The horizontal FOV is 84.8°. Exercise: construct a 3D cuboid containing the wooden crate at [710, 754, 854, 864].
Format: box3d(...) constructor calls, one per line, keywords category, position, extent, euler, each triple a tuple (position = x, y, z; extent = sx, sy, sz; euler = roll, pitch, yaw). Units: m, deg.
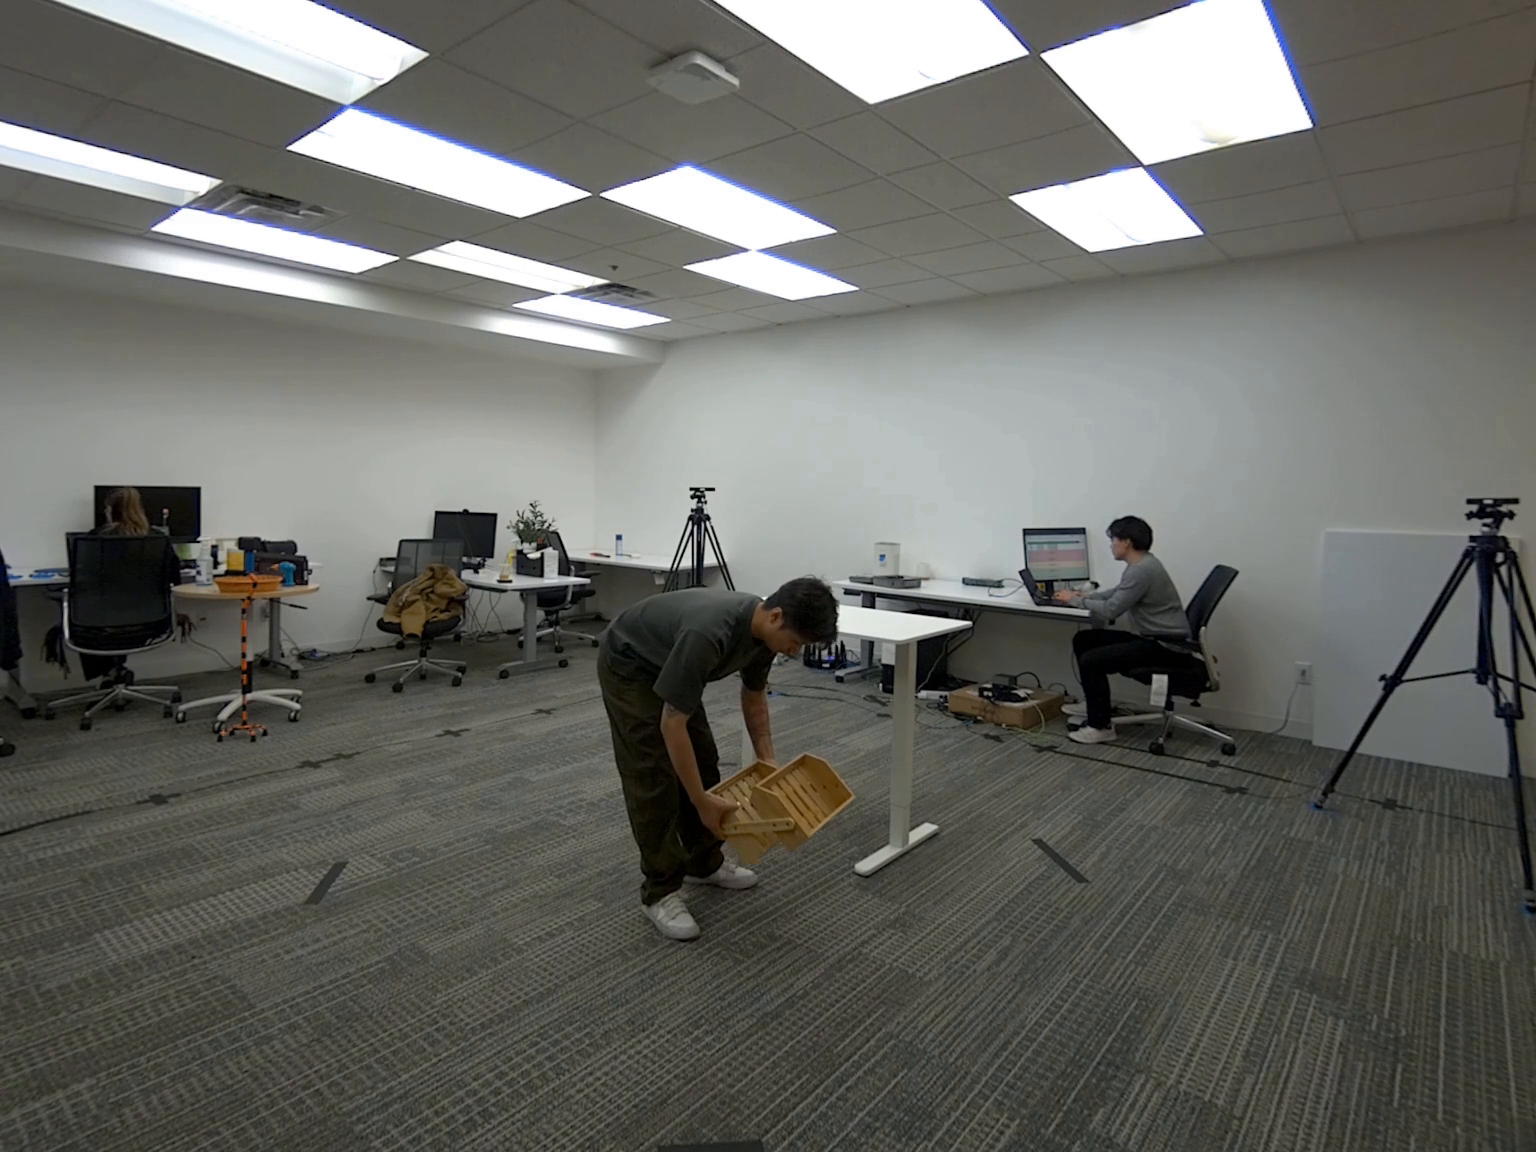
box3d(category="wooden crate", position=(0.024, 0.688, 2.637), extent=(0.317, 0.310, 0.273), euler=(-14, -30, -54))
